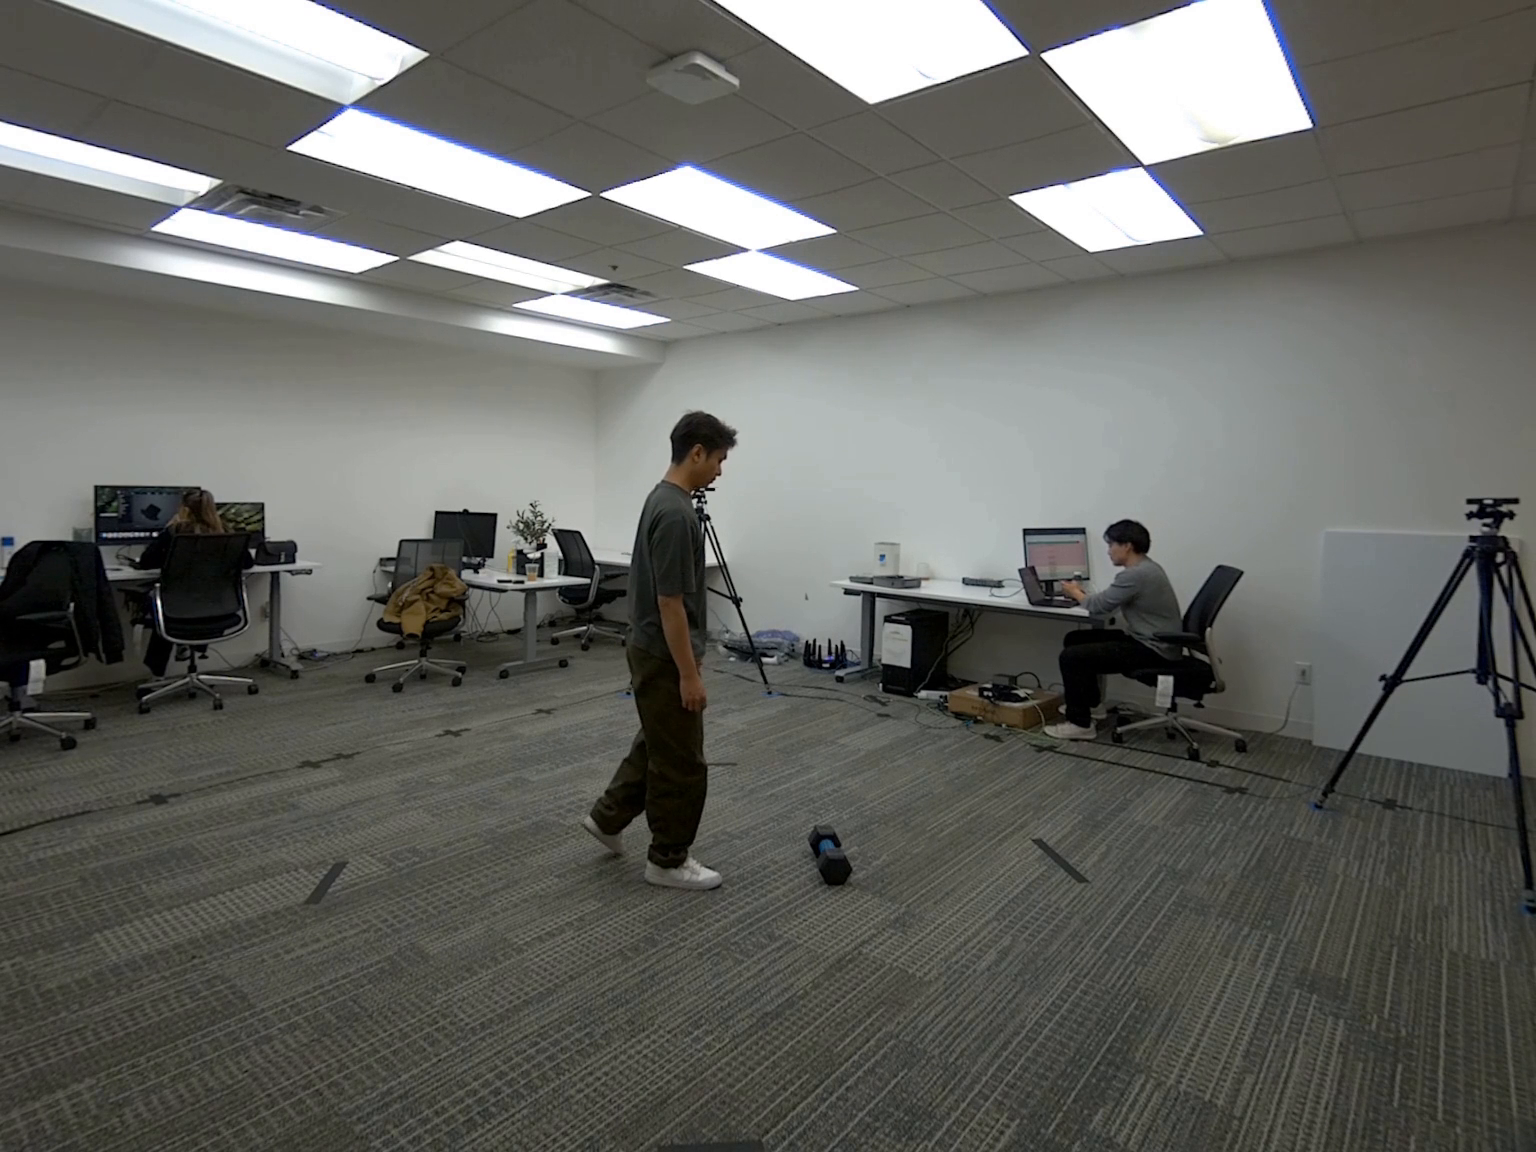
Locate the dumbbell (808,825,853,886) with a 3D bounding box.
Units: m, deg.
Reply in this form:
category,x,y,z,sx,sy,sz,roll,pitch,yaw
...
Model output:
category,x,y,z,sx,sy,sz,roll,pitch,yaw
dumbbell,0.215,1.024,3.133,0.108,0.122,0.296,-29,7,-2
